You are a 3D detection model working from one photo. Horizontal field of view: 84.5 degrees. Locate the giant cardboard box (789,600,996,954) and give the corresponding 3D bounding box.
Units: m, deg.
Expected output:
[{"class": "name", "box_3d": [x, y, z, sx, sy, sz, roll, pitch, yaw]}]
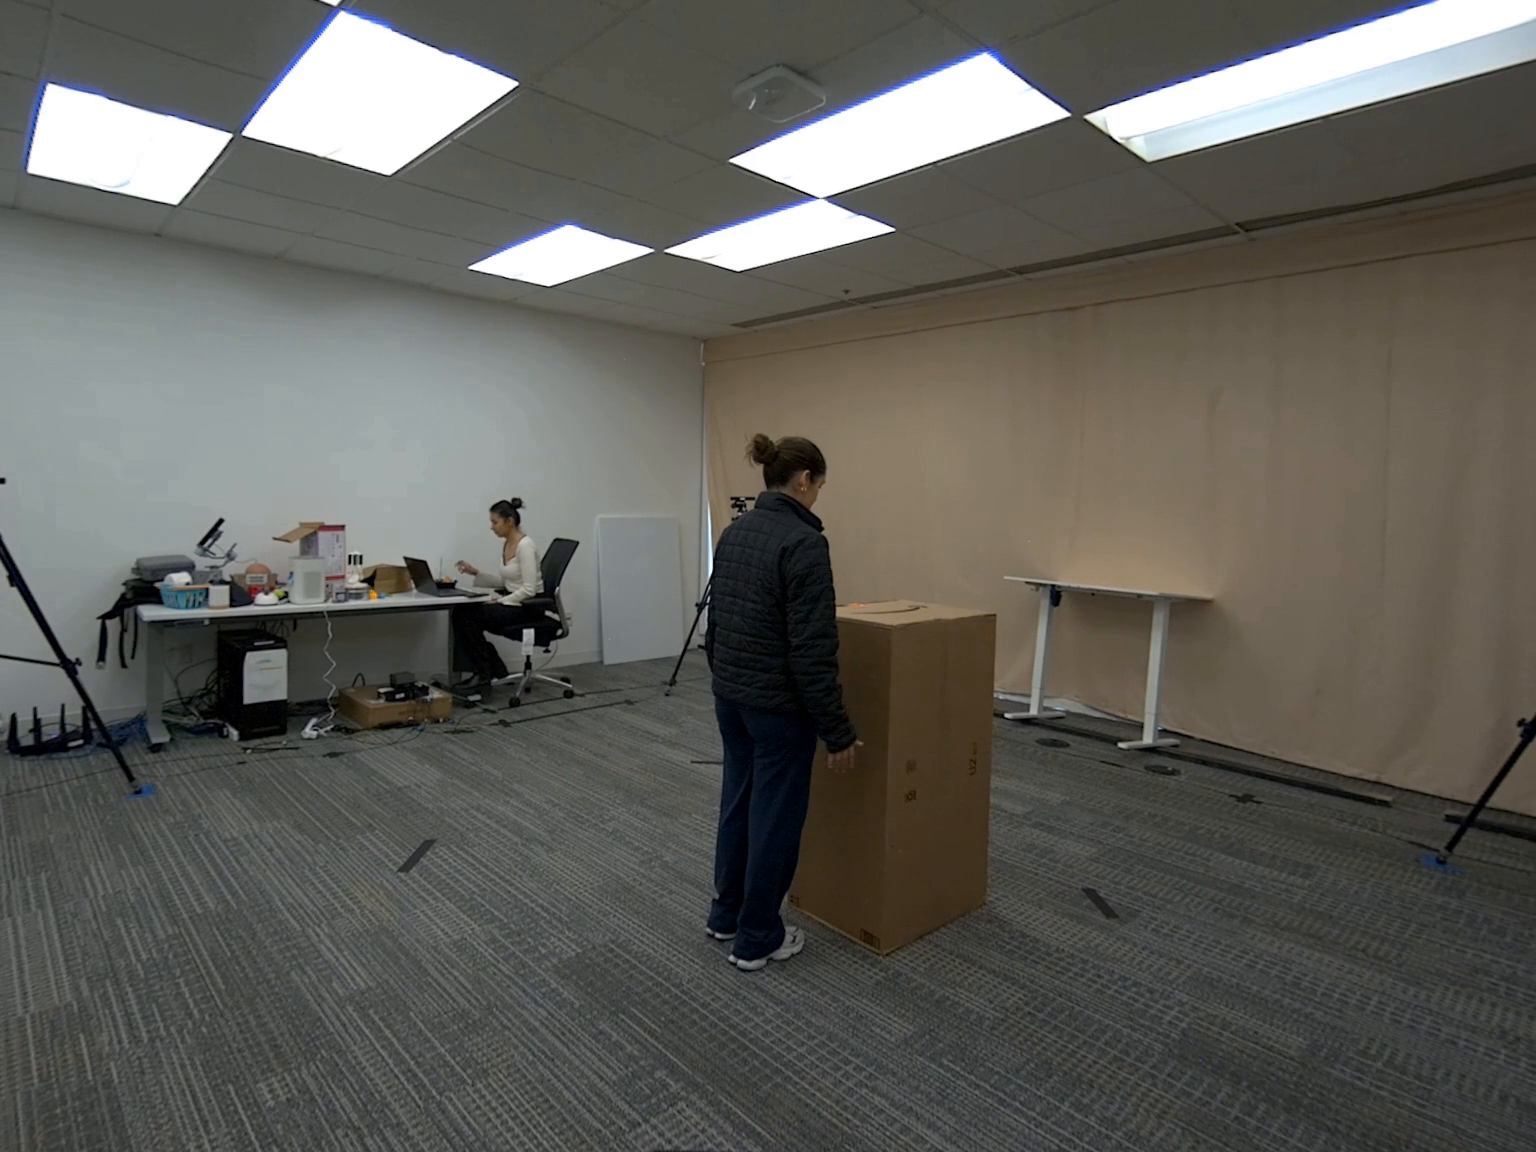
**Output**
[{"class": "giant cardboard box", "box_3d": [0.426, 0.631, 2.884, 0.564, 1.023, 0.437, -2, 5, -42]}]
